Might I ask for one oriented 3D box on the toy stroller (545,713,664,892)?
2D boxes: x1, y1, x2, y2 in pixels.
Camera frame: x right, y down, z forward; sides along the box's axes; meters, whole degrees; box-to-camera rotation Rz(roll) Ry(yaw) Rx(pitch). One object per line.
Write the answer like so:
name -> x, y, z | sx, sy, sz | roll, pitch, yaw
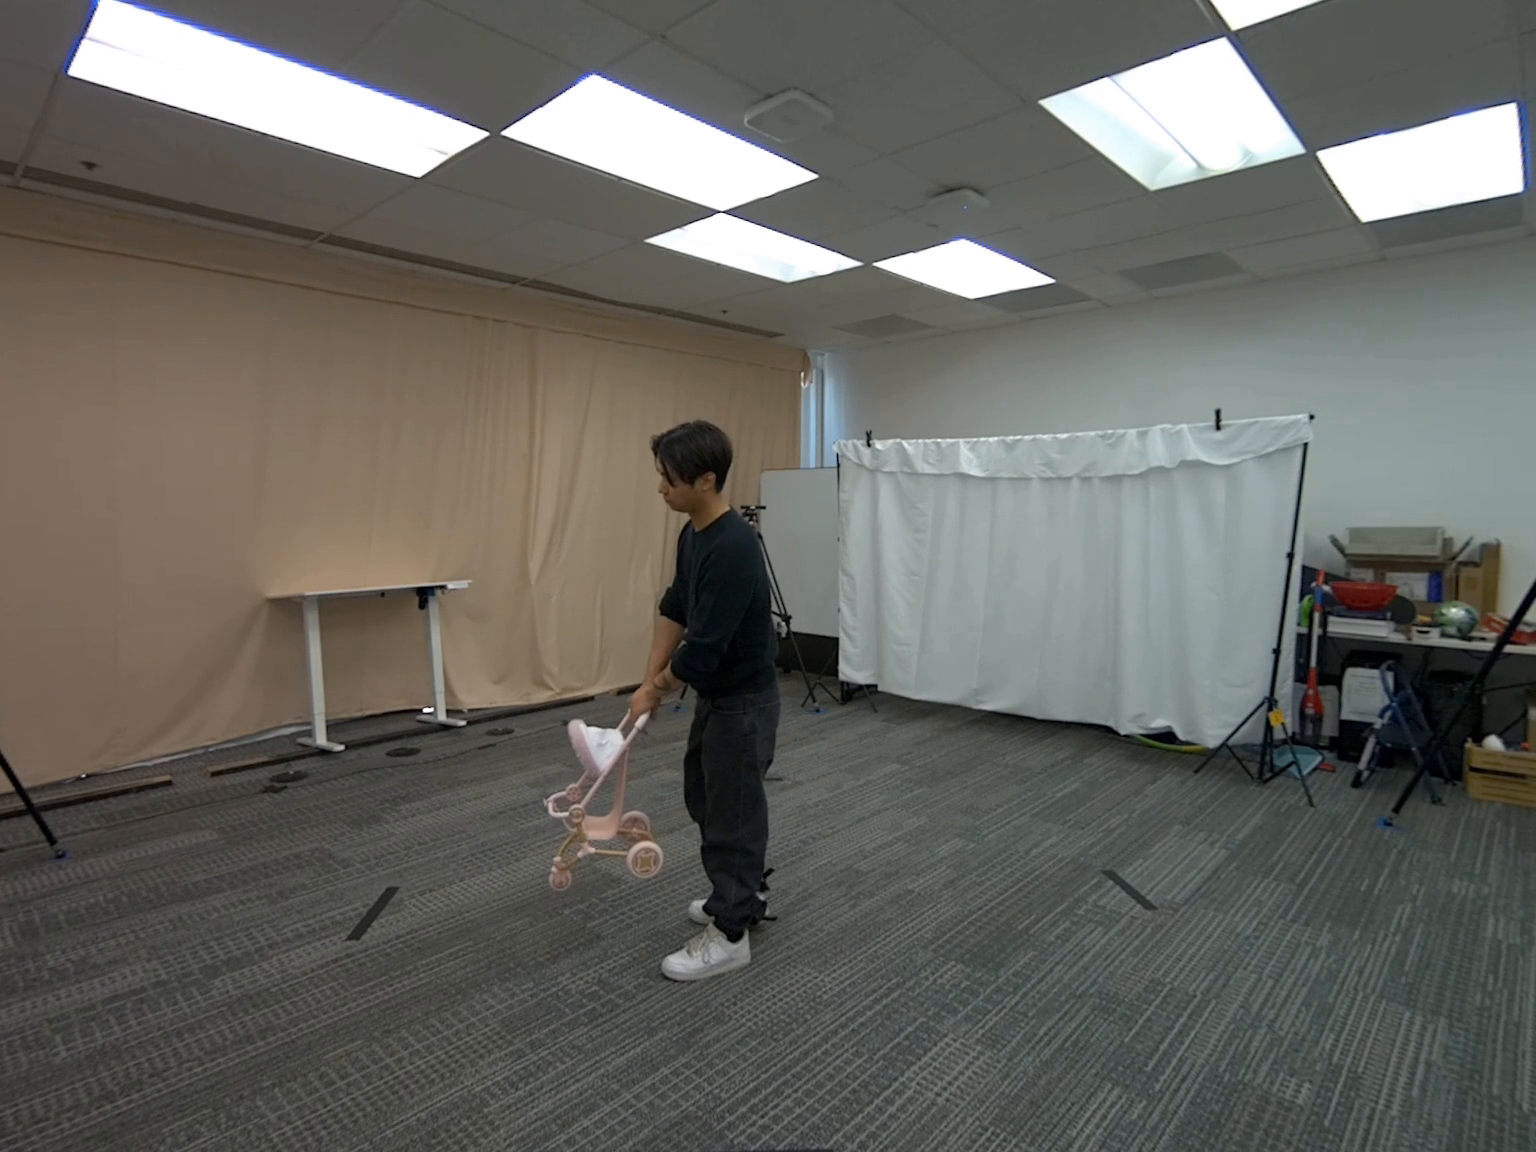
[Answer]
toy stroller -> -0.502, 0.668, 2.515 | 0.338, 0.533, 0.285 | -5, 4, -10
